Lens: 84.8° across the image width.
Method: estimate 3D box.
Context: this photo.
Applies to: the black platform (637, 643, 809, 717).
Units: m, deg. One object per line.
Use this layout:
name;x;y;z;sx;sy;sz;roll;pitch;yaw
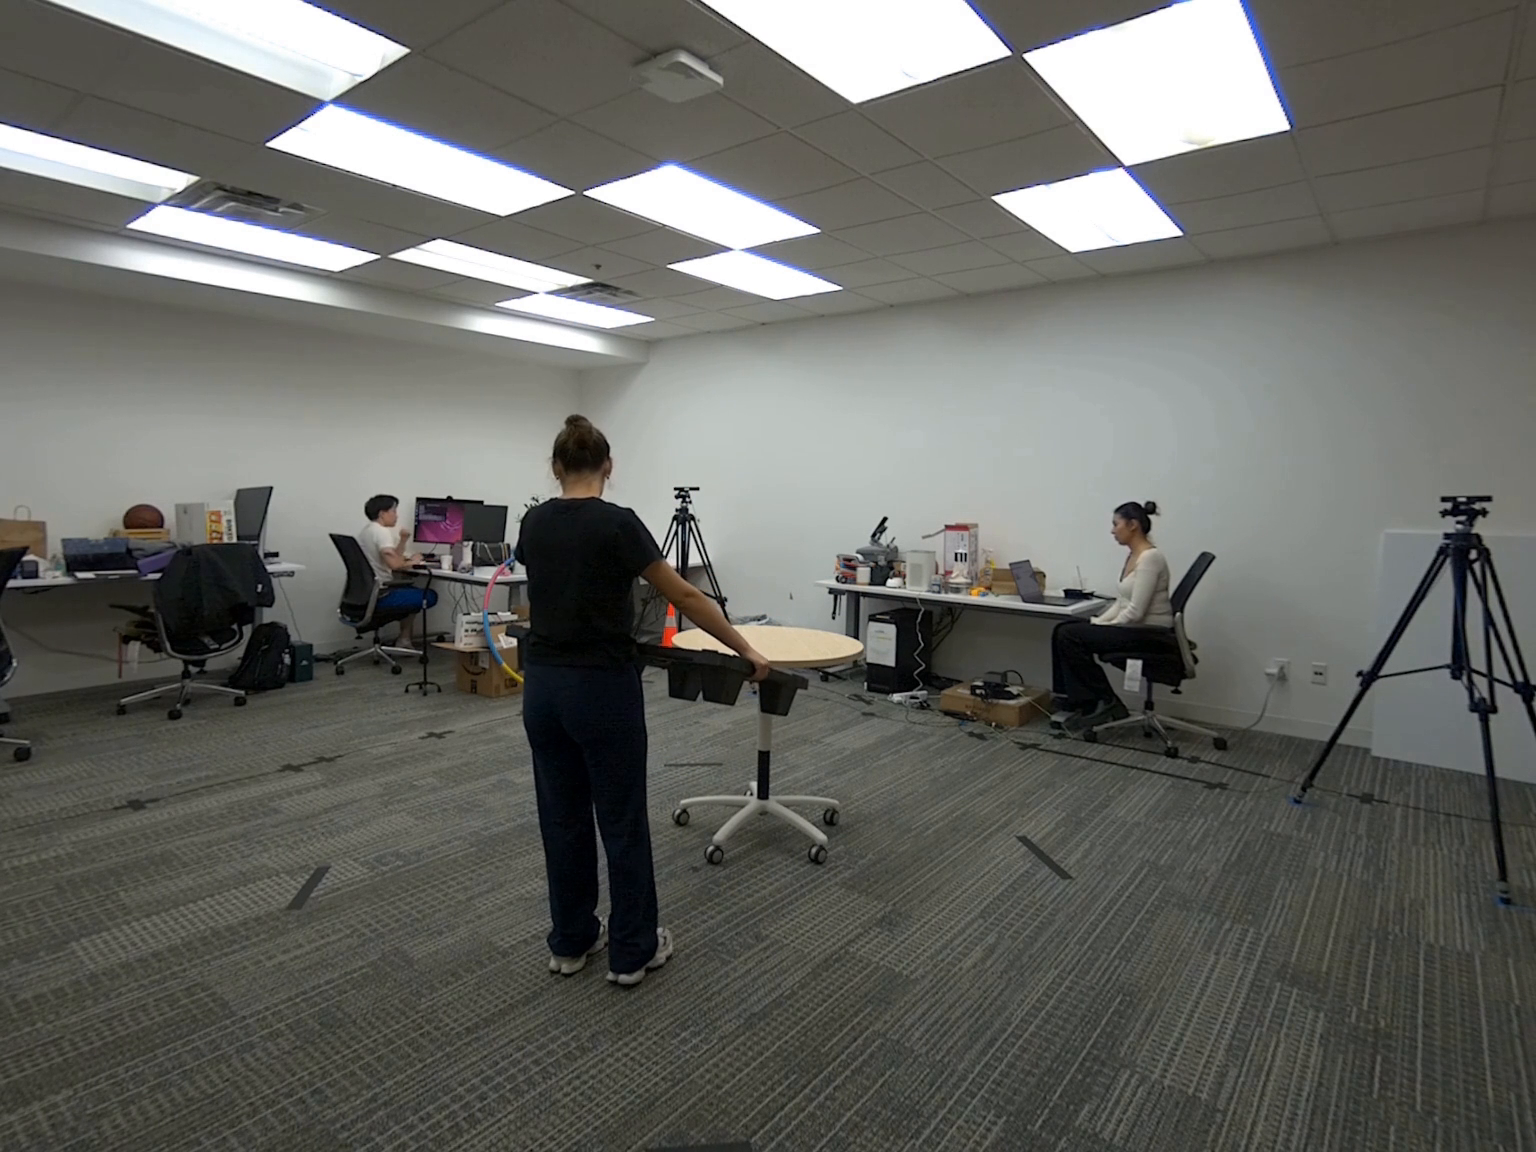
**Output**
black platform;-0.332;0.302;2.716;0.829;0.144;0.583;5;-10;28
